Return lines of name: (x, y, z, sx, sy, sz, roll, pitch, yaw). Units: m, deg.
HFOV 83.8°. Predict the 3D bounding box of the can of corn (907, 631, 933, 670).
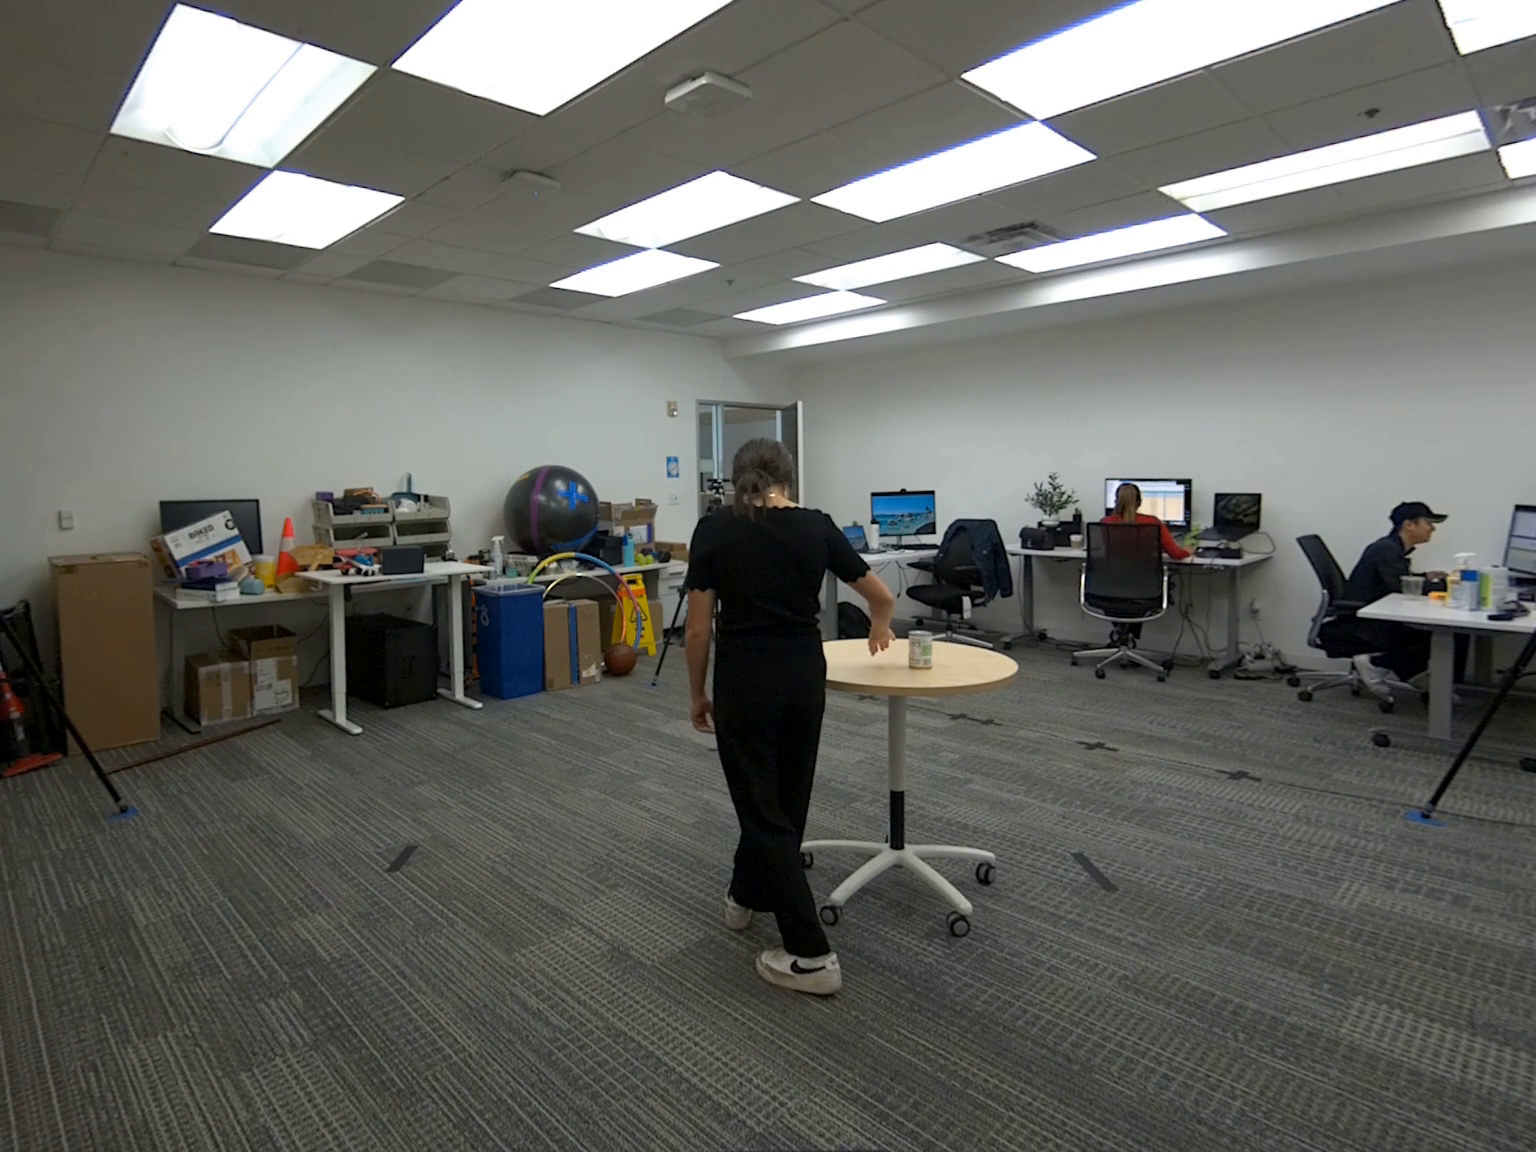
can of corn: (0.492, 0.237, 2.734, 0.074, 0.110, 0.075, 0, 7, -2)
